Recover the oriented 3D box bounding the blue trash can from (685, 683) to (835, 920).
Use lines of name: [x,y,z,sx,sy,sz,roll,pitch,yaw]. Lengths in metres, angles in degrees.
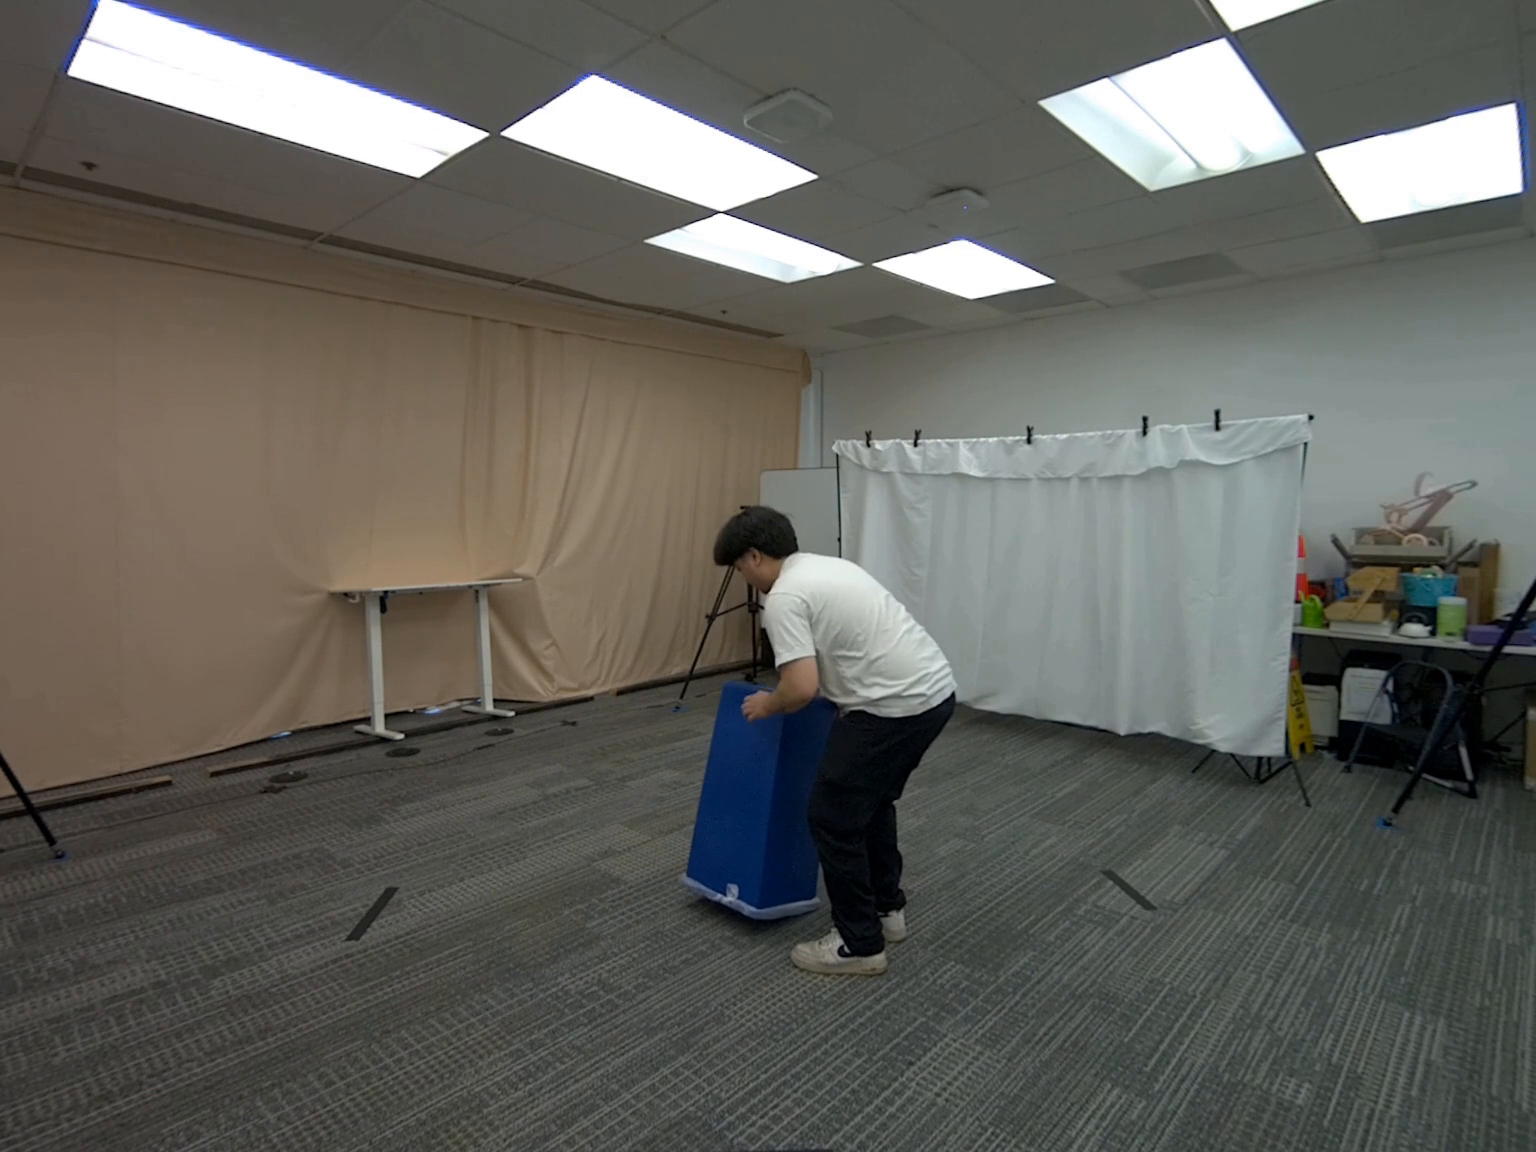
blue trash can: [-0.003,0.764,2.978,0.391,0.716,0.360,3,-10,41]
